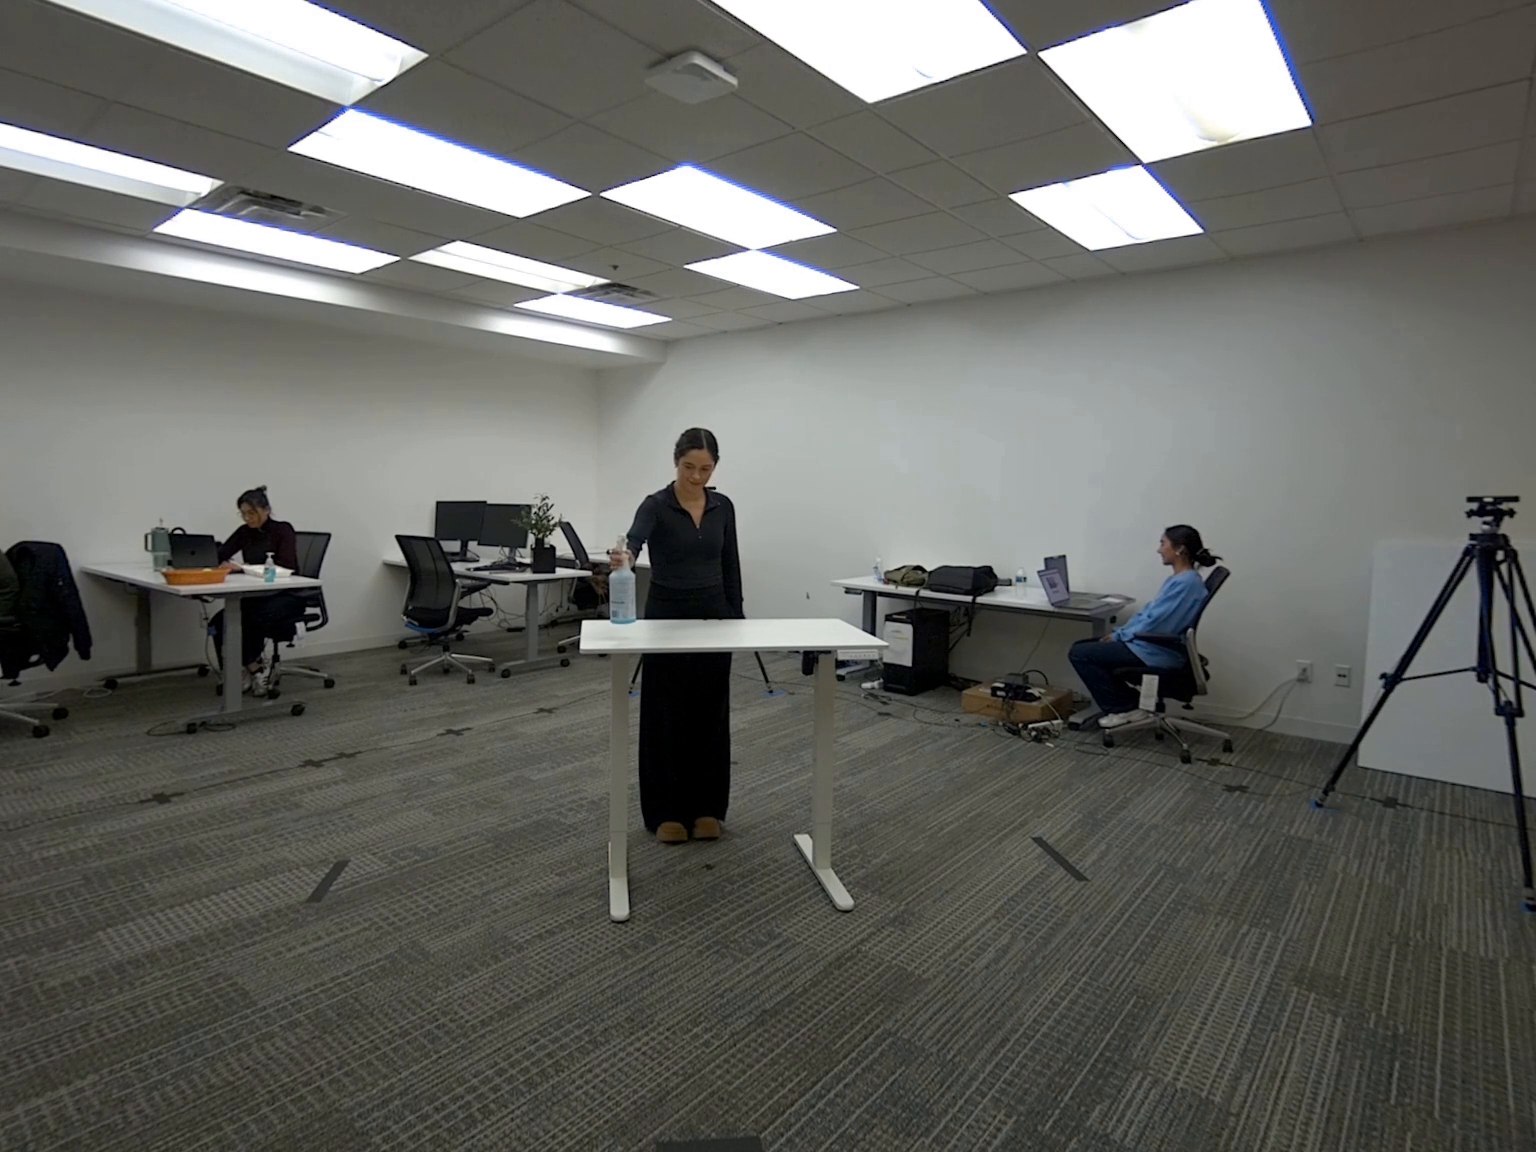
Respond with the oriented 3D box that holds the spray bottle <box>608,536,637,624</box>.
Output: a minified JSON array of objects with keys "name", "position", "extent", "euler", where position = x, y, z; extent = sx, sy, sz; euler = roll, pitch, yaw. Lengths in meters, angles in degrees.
[{"name":"spray bottle","position":[-0.507,0.011,2.818],"extent":[0.088,0.296,0.089],"euler":[-3,3,12]}]
